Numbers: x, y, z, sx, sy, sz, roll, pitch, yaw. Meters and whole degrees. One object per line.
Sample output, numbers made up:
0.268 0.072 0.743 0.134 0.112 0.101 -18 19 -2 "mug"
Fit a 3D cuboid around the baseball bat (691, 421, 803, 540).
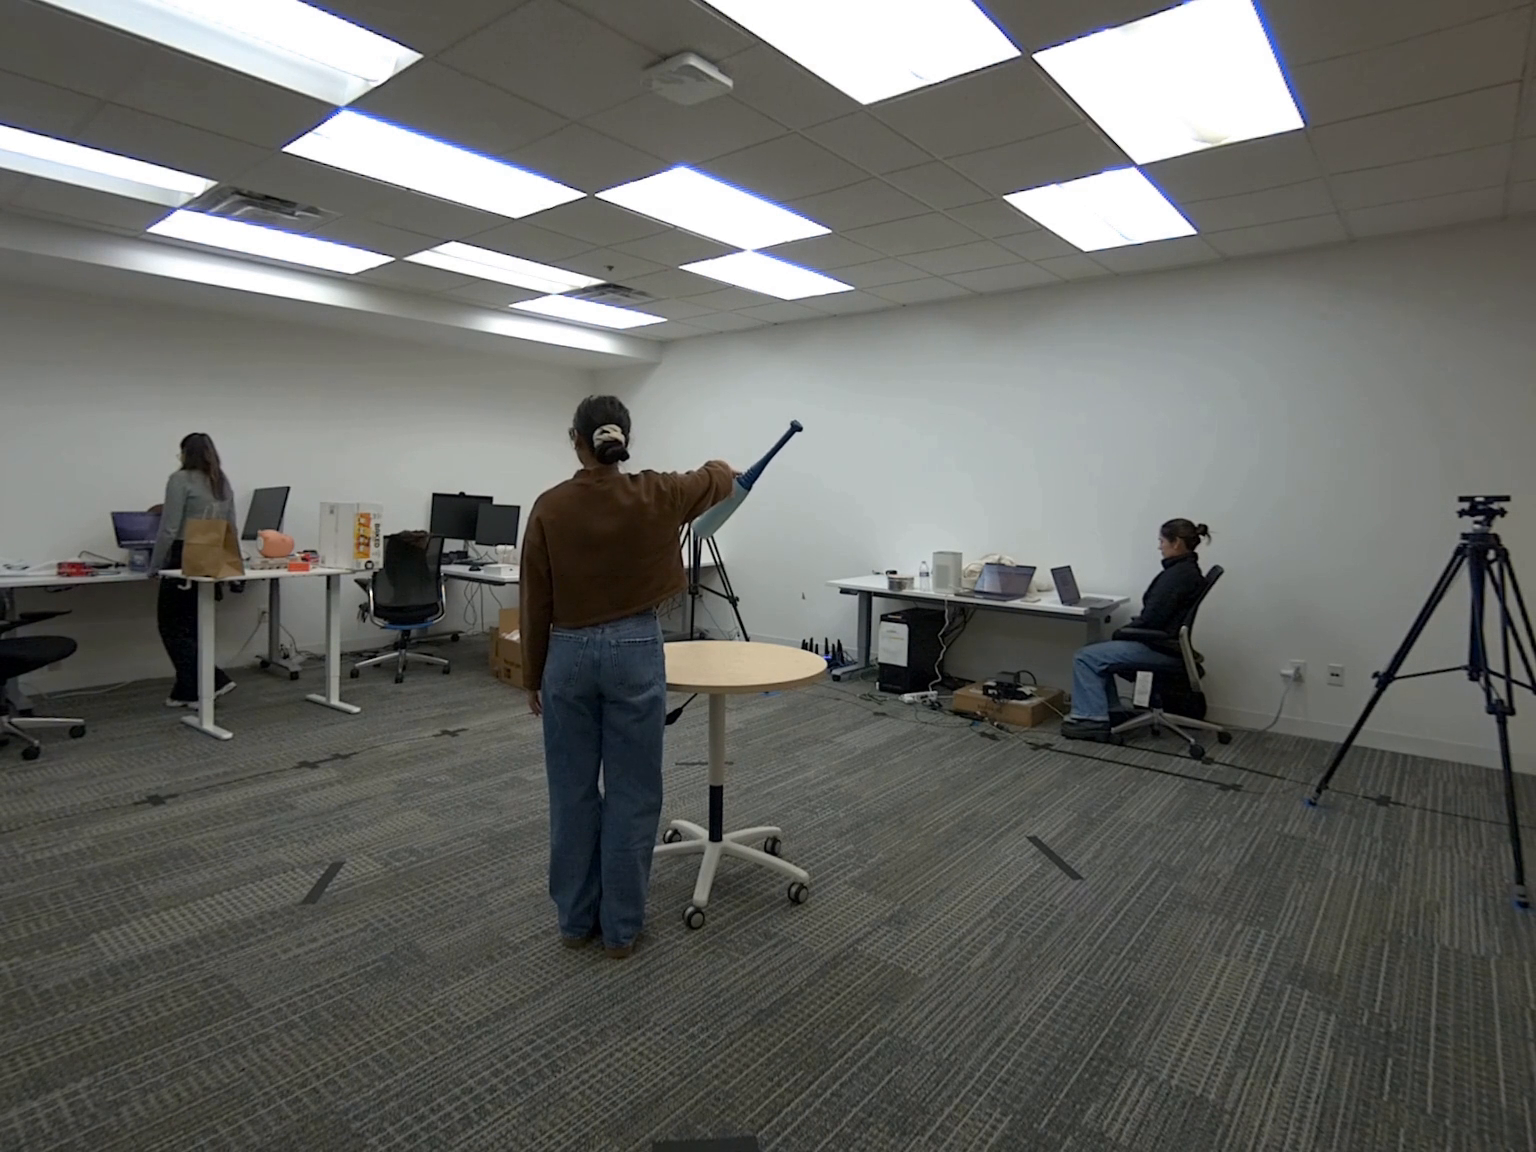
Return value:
-0.092 -0.335 2.979 0.087 0.543 0.091 40 18 -18 "baseball bat"
